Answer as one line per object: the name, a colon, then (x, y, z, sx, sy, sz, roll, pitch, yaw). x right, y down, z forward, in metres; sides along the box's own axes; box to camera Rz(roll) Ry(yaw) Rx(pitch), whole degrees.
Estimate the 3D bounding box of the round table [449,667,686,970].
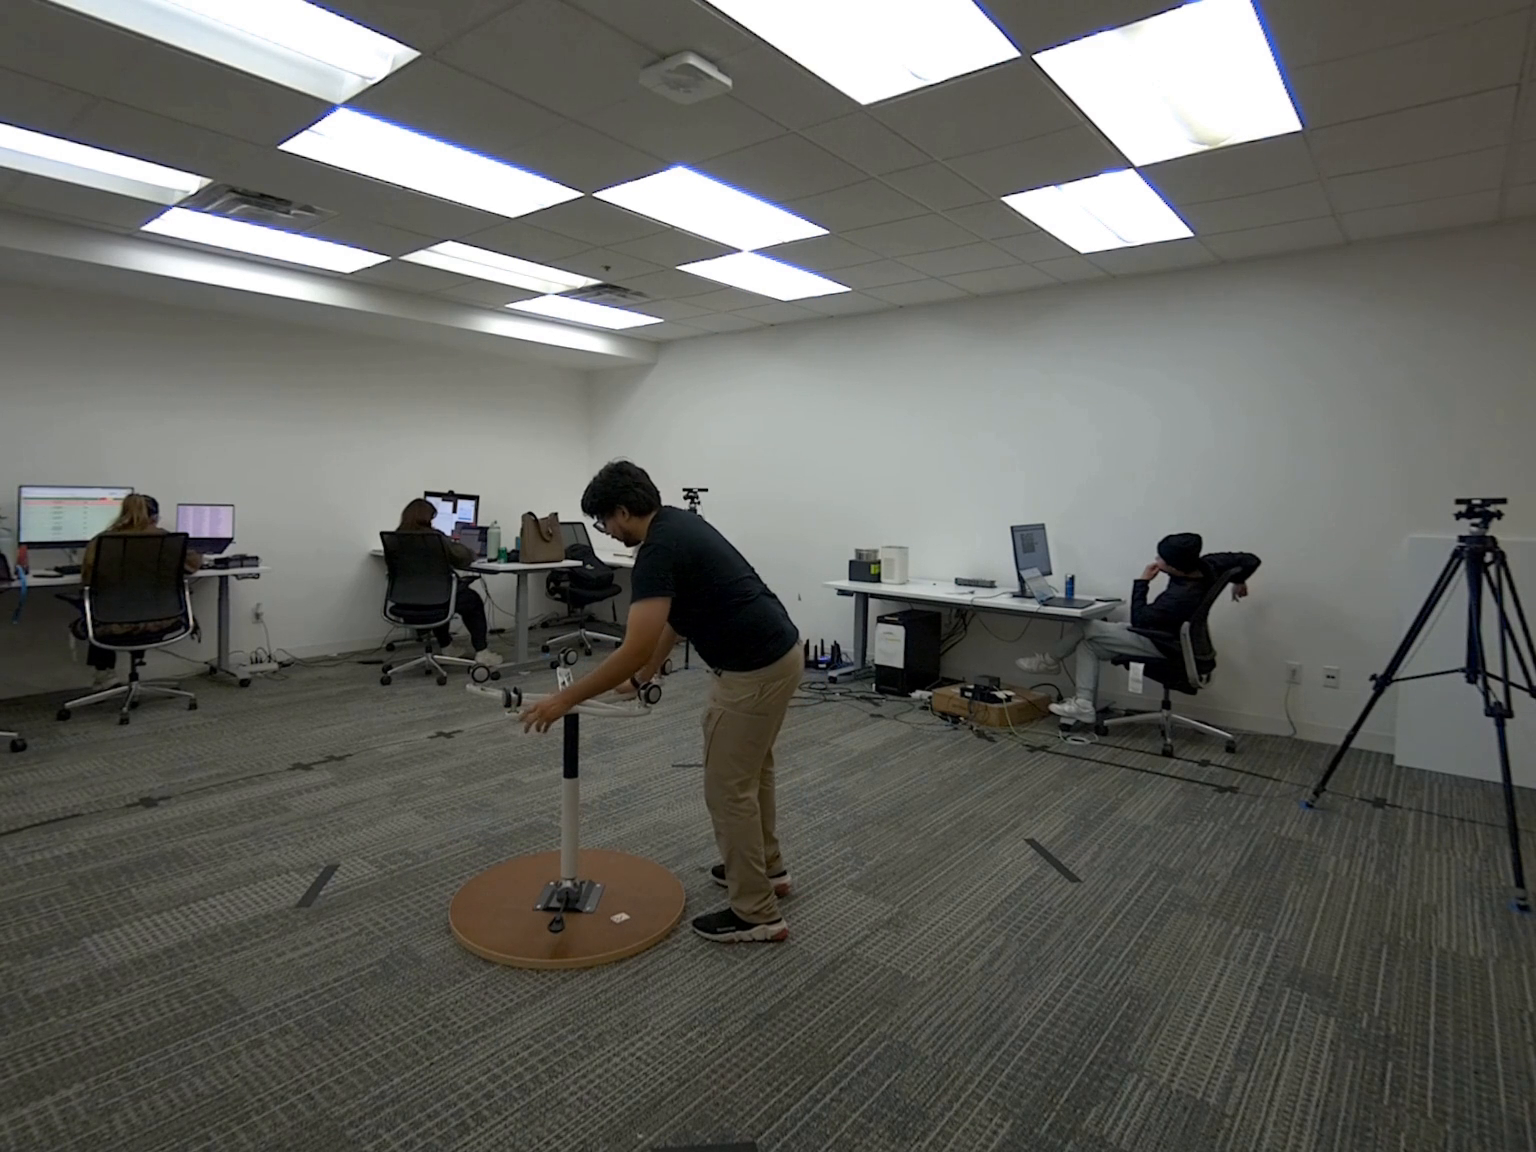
round table: (-0.670, 0.692, 2.809, 0.784, 0.785, 0.788, 1, 3, -2)
